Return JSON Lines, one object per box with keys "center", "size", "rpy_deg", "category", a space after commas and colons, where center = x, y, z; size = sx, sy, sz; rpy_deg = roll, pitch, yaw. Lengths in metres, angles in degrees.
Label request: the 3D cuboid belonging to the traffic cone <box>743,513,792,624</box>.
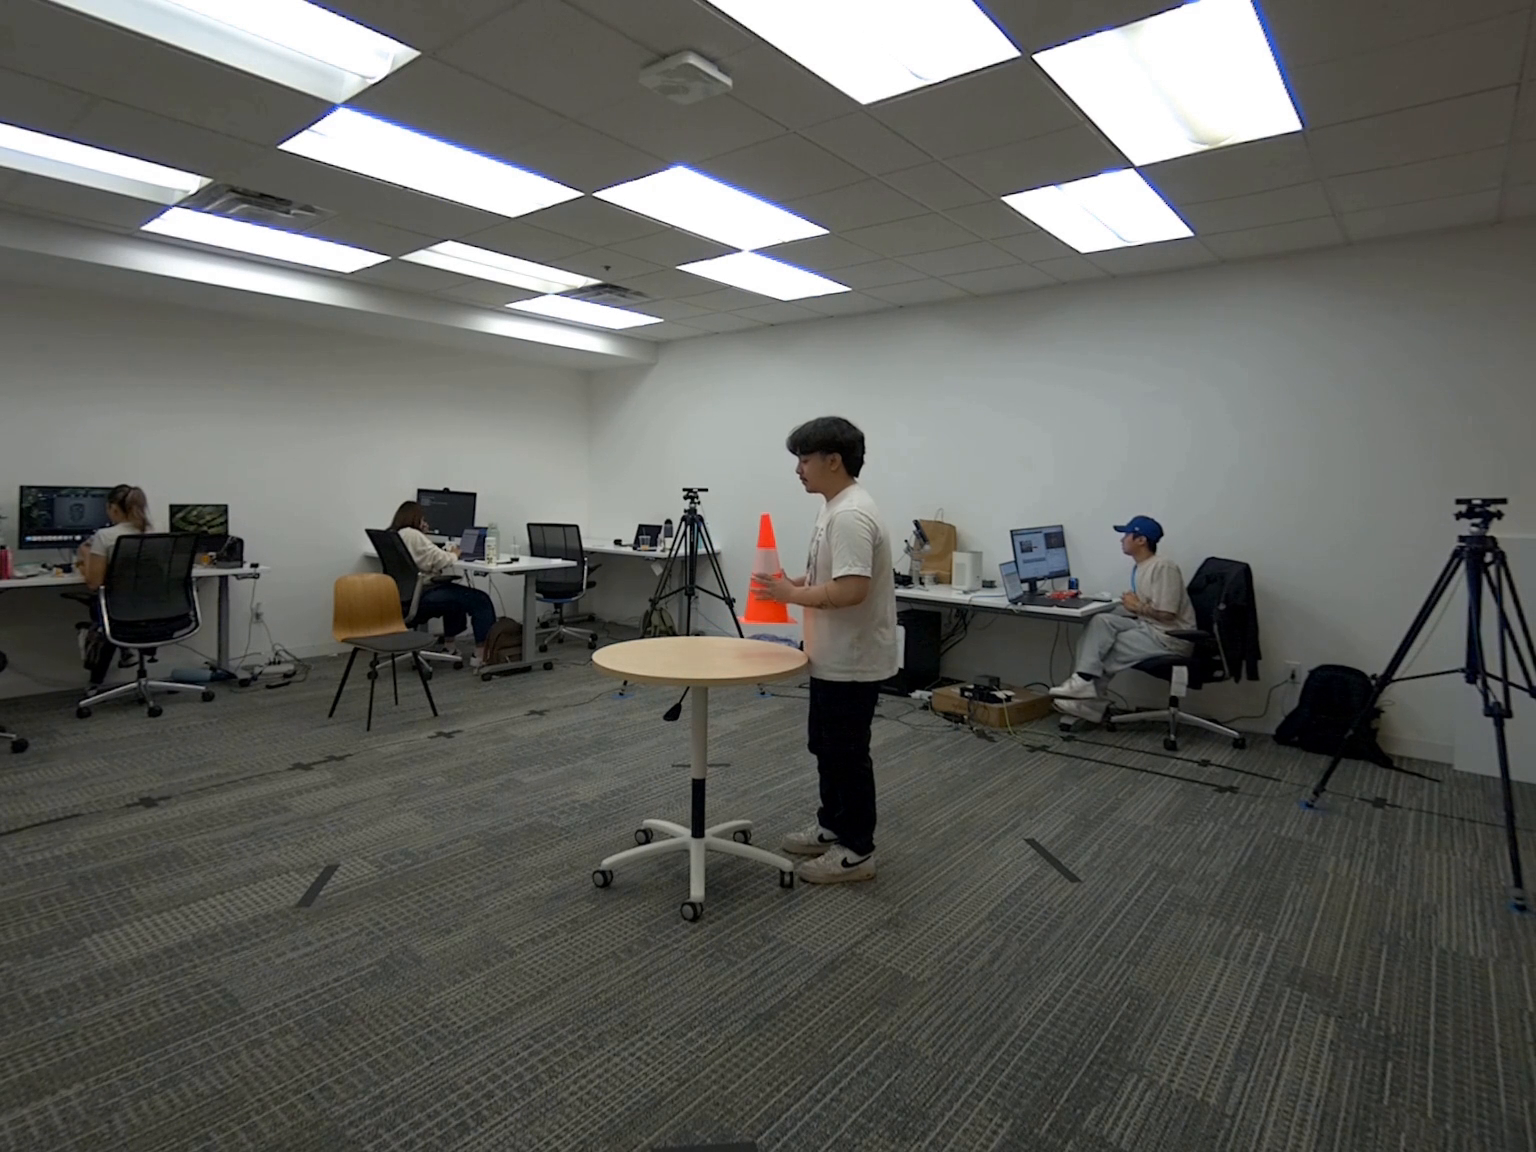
{"center": [-0.015, -0.038, 3.059], "size": [0.210, 0.381, 0.200], "rpy_deg": [2, 9, 41], "category": "traffic cone"}
